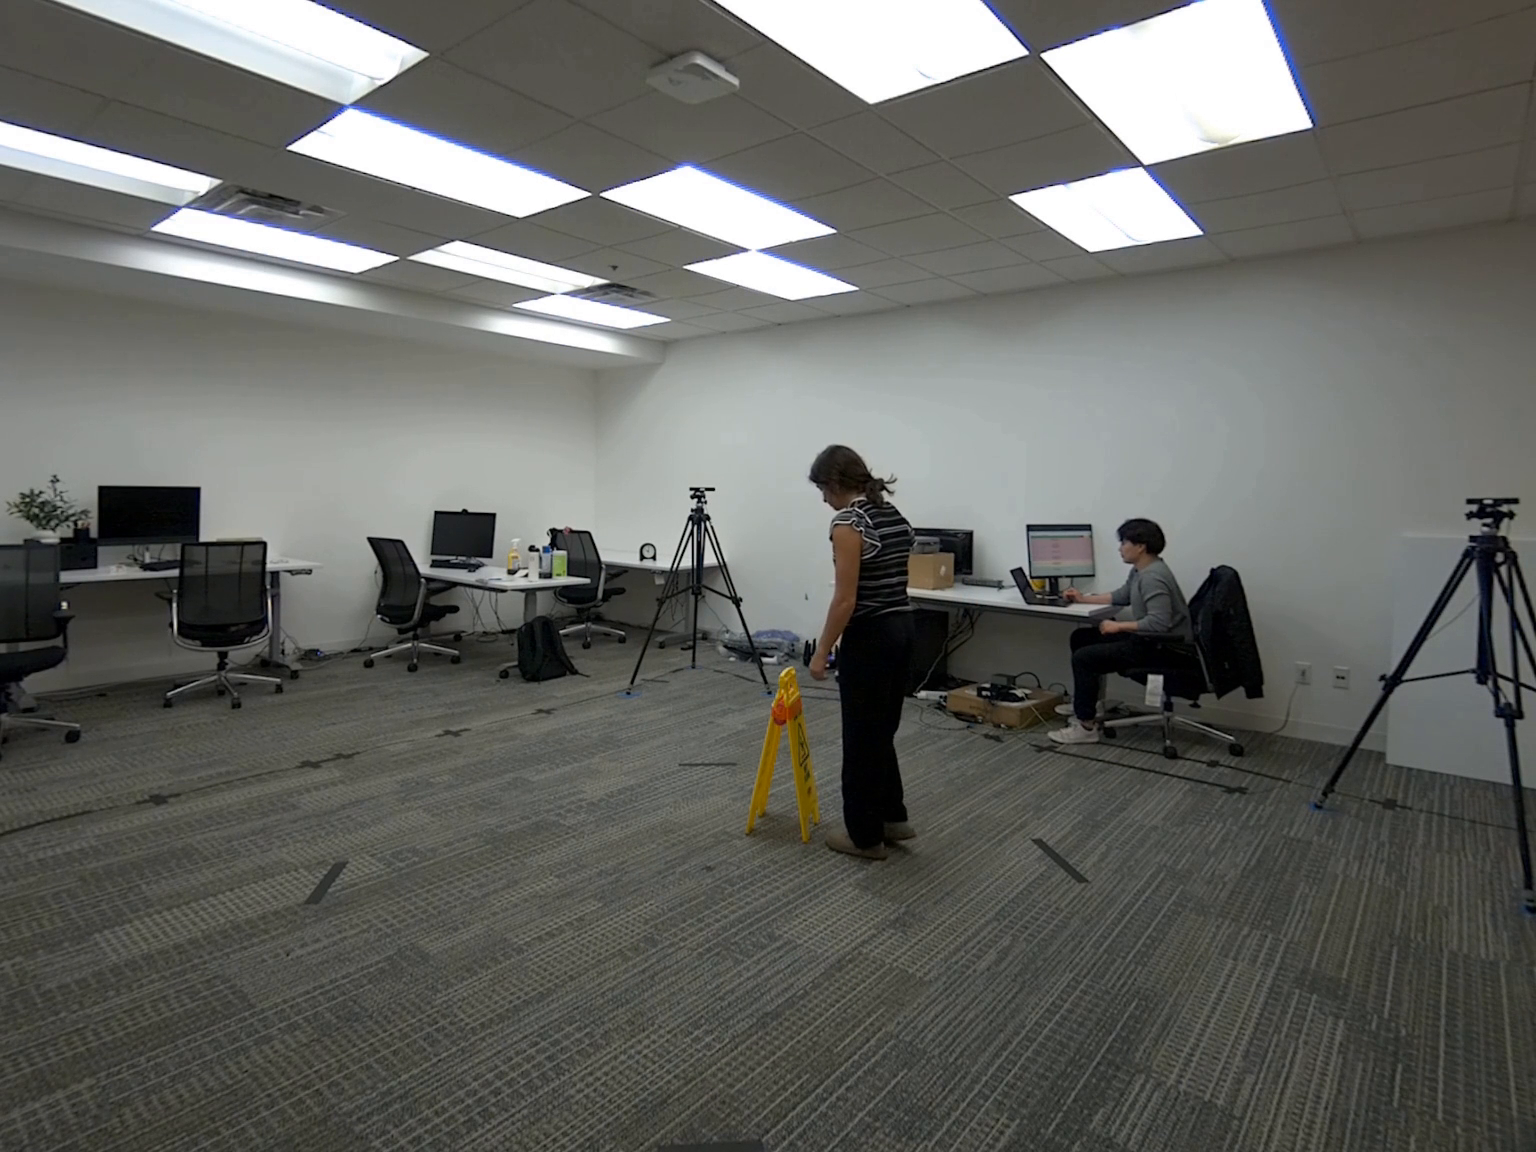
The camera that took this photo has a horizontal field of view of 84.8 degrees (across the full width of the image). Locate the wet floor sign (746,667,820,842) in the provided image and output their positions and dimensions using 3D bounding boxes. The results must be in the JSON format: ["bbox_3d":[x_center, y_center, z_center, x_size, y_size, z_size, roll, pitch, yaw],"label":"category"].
[{"bbox_3d":[0.067,0.711,3.504,0.294,0.644,0.279,3,4,14],"label":"wet floor sign"}]
